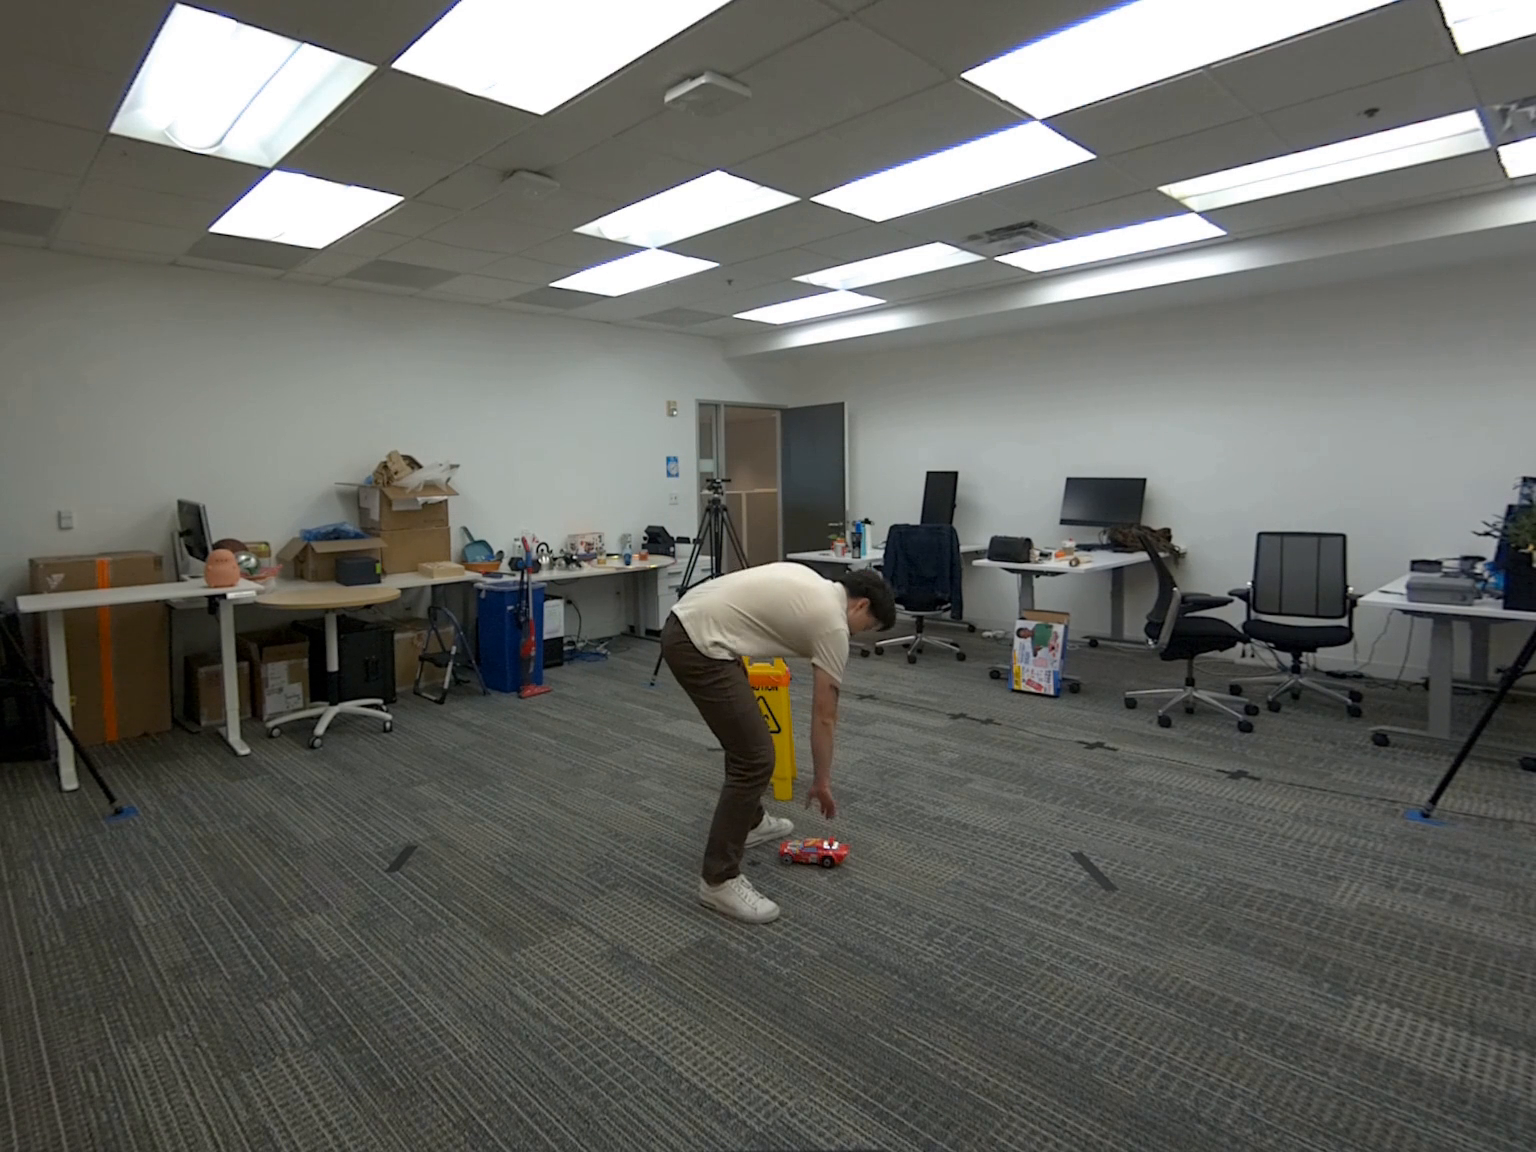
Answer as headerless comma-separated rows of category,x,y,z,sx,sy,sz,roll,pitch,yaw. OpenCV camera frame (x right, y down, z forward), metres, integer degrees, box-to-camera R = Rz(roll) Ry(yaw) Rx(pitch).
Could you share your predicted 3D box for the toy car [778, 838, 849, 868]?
toy car,0.178,1.011,3.111,0.257,0.083,0.129,-11,3,13
